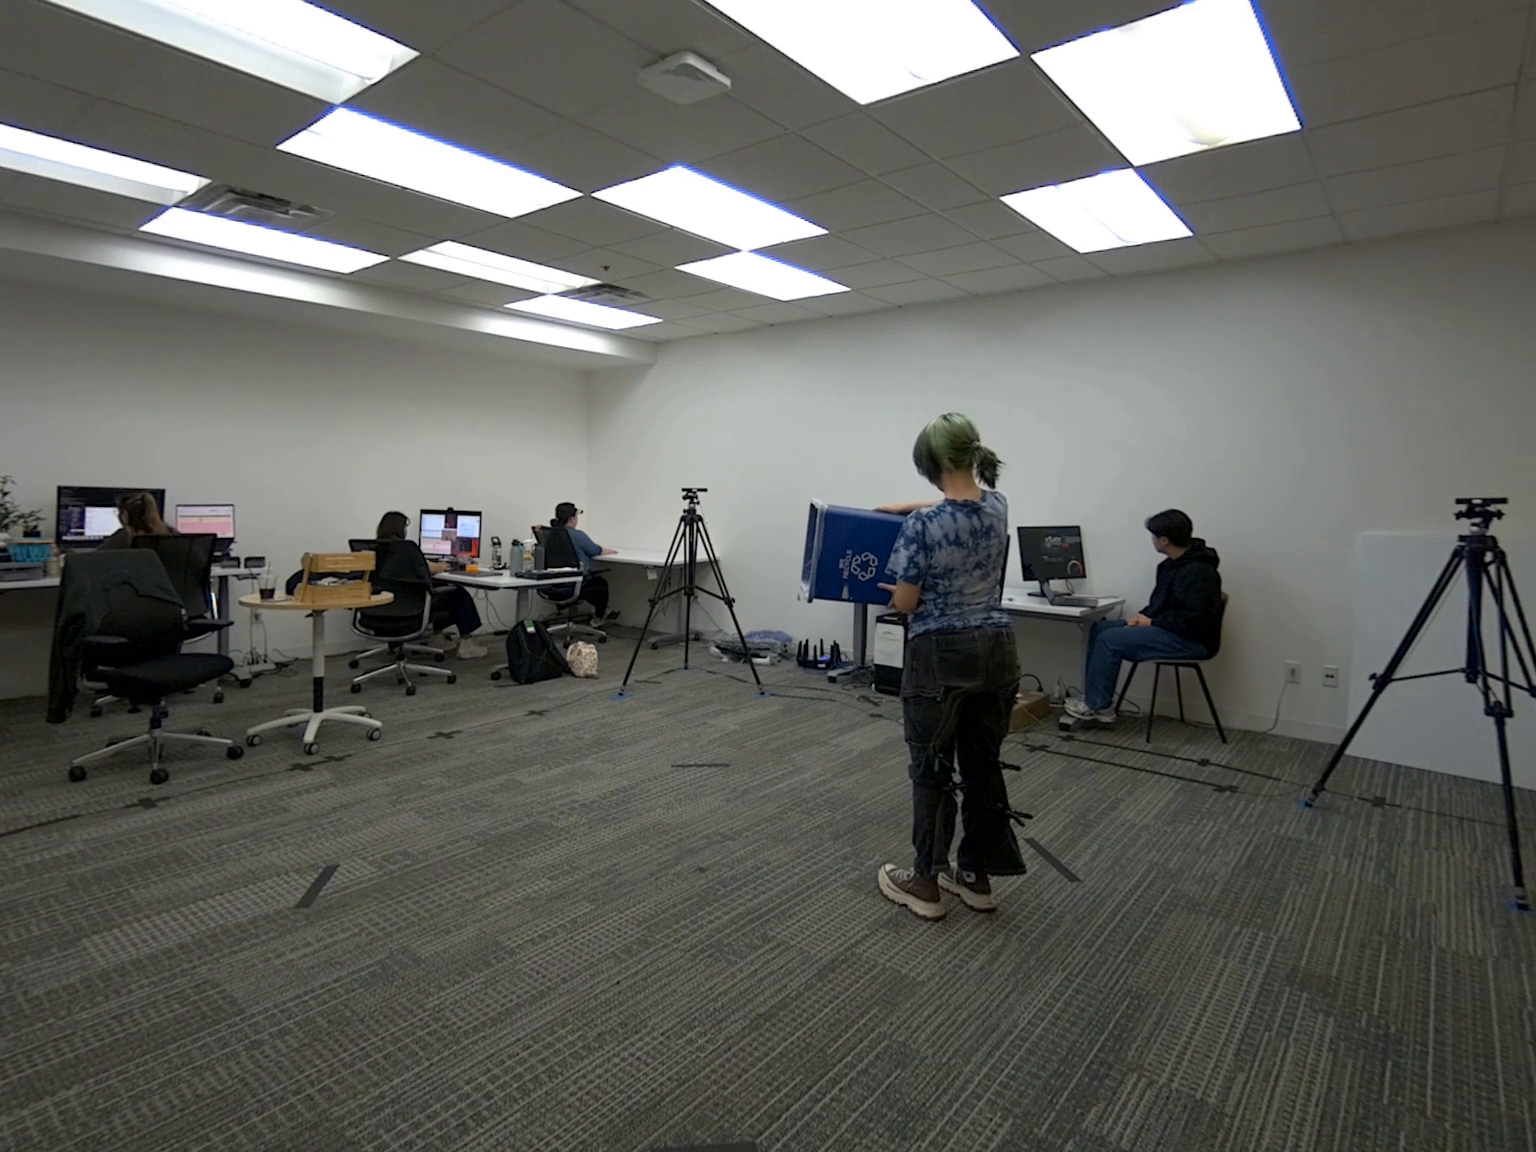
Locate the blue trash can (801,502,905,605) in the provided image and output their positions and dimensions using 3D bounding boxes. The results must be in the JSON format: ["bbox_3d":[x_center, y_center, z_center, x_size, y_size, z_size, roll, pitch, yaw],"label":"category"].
[{"bbox_3d":[0.497,-0.092,3.267,0.714,0.371,0.381,3,9,0],"label":"blue trash can"}]
